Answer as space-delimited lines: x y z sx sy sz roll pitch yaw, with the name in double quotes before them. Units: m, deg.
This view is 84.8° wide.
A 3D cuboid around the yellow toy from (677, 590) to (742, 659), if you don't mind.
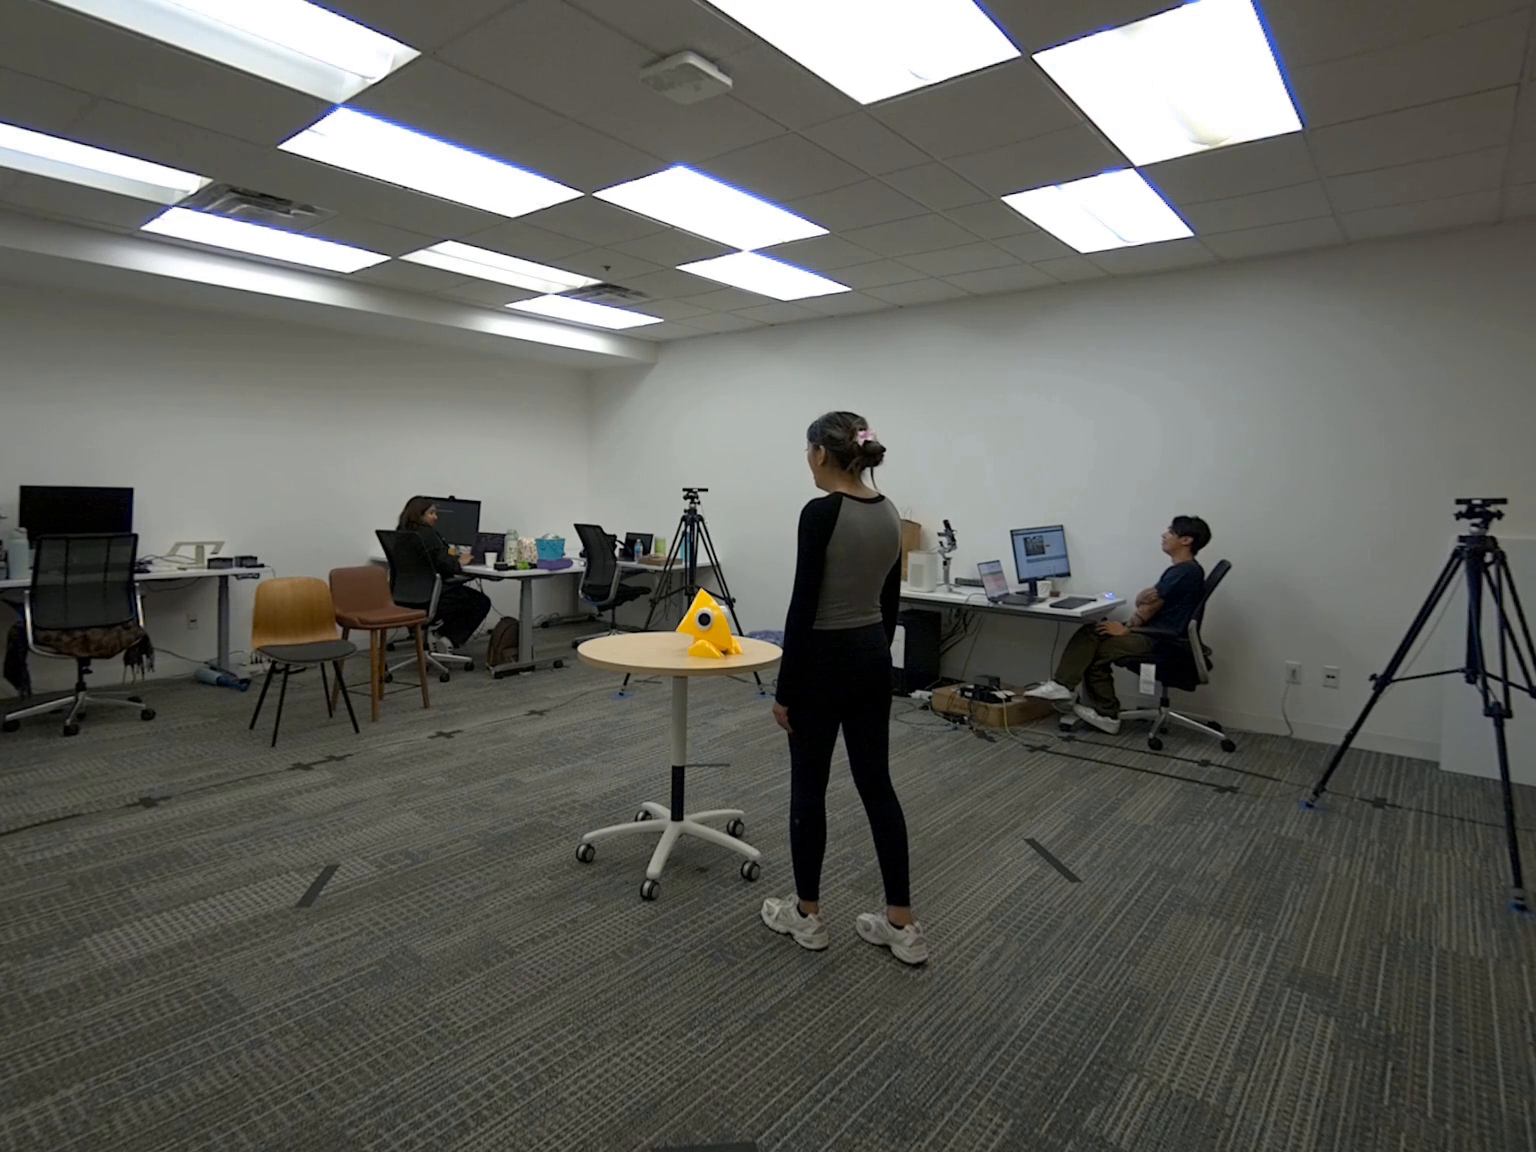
"yellow toy" -0.210 0.163 3.106 0.199 0.230 0.199 3 4 37
